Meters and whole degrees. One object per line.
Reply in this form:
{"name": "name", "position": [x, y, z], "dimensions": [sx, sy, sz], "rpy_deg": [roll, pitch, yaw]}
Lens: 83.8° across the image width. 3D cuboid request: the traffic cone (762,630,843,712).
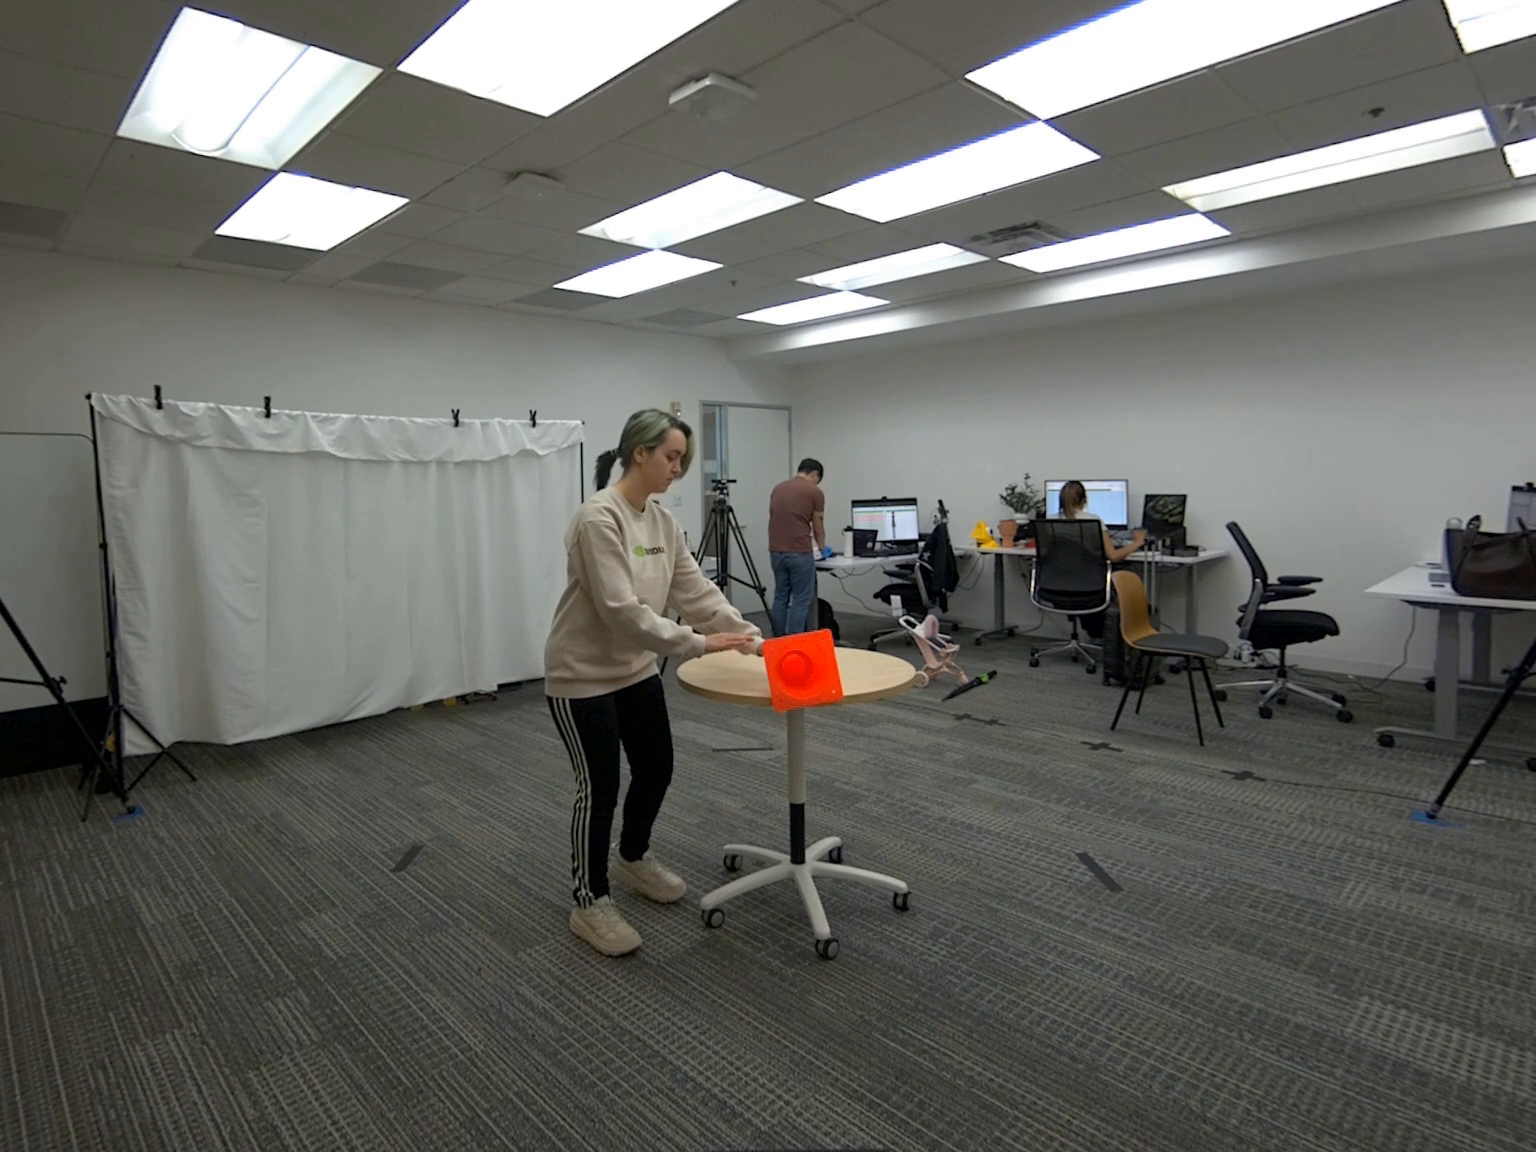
{"name": "traffic cone", "position": [0.083, 0.274, 2.567], "dimensions": [0.203, 0.206, 0.382], "rpy_deg": [-2, -5, -2]}
